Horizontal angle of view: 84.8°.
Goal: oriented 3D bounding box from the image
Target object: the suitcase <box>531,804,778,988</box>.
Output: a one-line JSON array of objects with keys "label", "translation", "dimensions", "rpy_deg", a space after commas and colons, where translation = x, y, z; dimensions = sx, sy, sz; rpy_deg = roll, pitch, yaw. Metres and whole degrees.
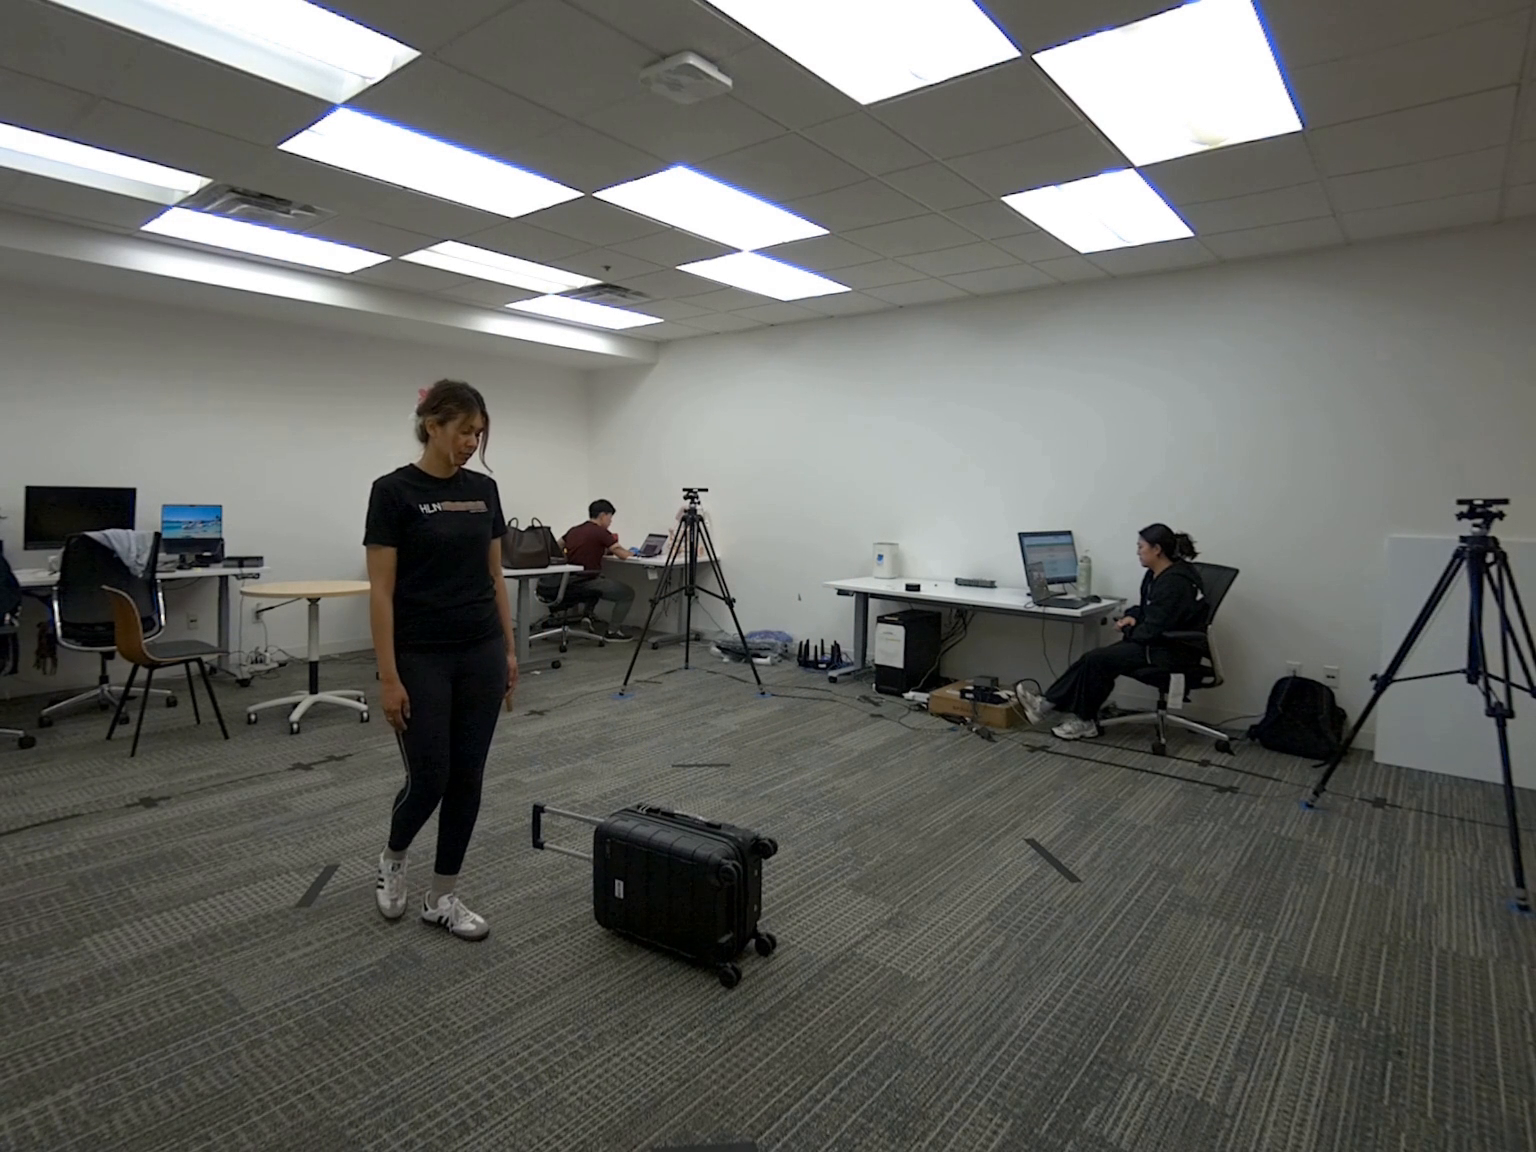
[{"label": "suitcase", "translation": [-0.461, 0.919, 2.701], "dimensions": [1.007, 0.383, 0.250], "rpy_deg": [4, 4, 30]}]
